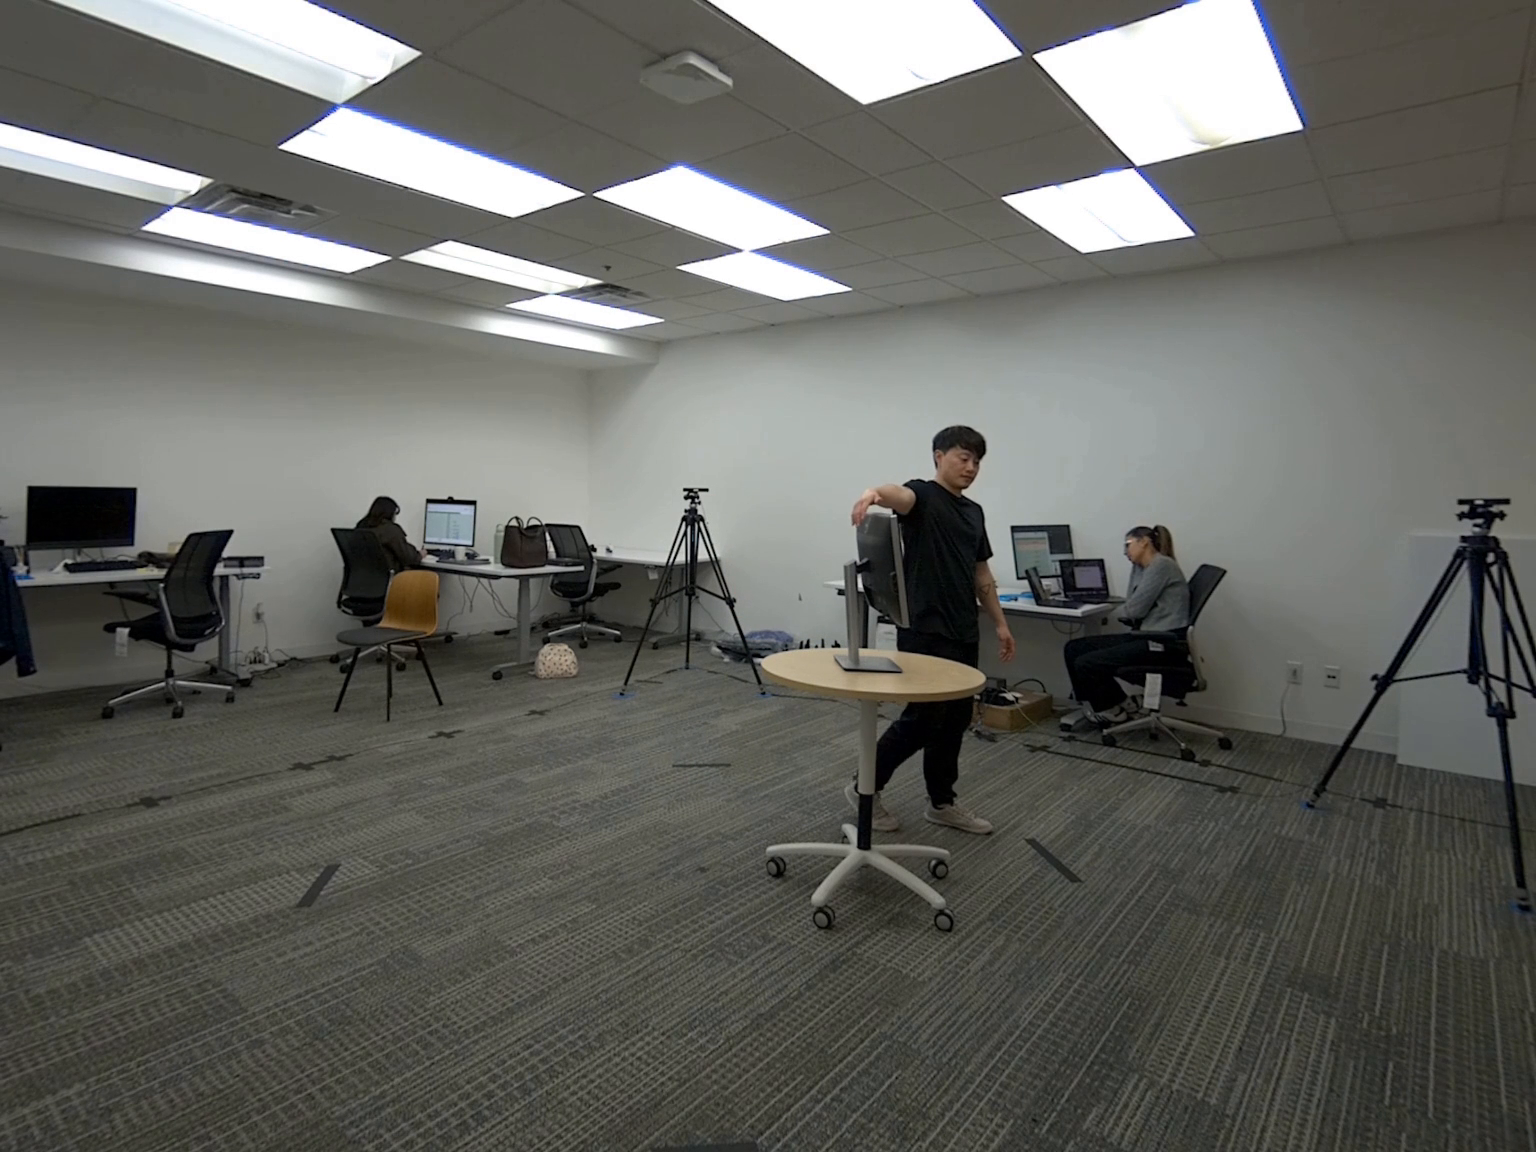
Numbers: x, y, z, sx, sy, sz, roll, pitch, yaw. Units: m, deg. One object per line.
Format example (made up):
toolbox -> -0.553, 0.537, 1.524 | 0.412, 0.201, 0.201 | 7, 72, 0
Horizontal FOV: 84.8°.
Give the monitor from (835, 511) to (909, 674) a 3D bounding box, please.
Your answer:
monitor -> 0.346, 0.049, 2.994 | 0.186, 0.521, 0.544 | 2, 5, -6
